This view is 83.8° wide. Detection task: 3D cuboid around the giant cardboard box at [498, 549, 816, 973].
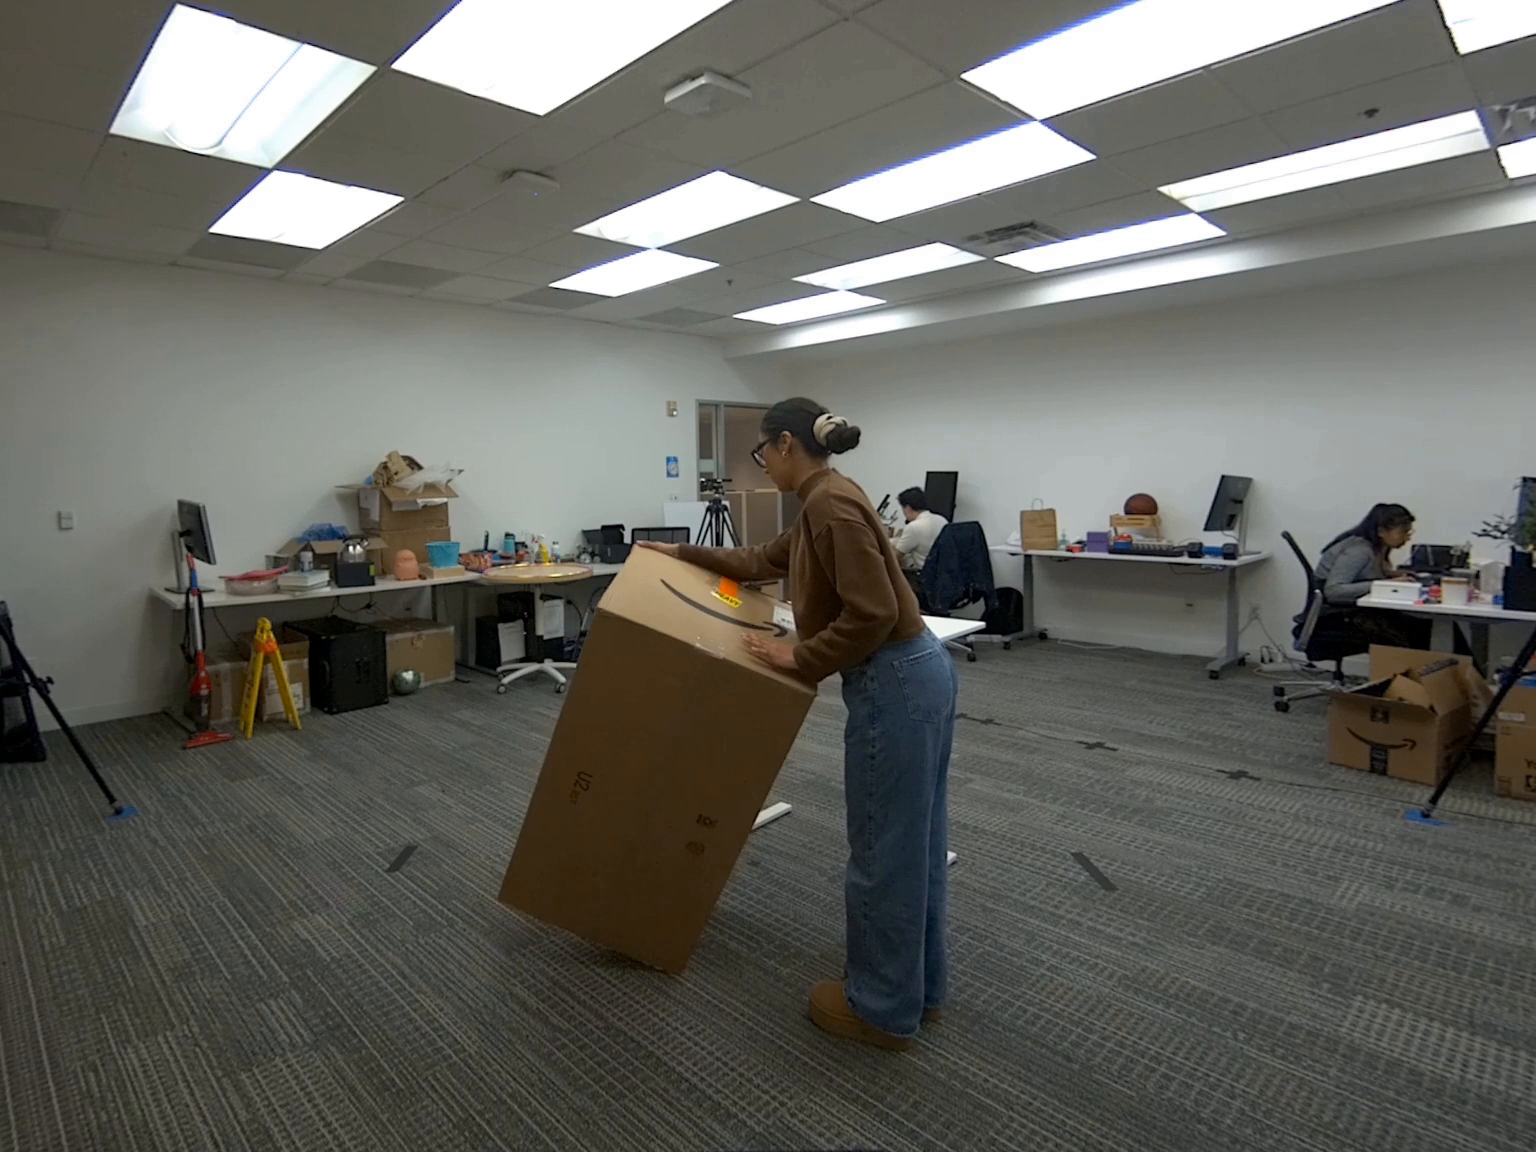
[{"bbox_3d":[-0.300,0.528,2.425,0.577,1.015,0.431,22,23,-2],"label":"giant cardboard box"}]
